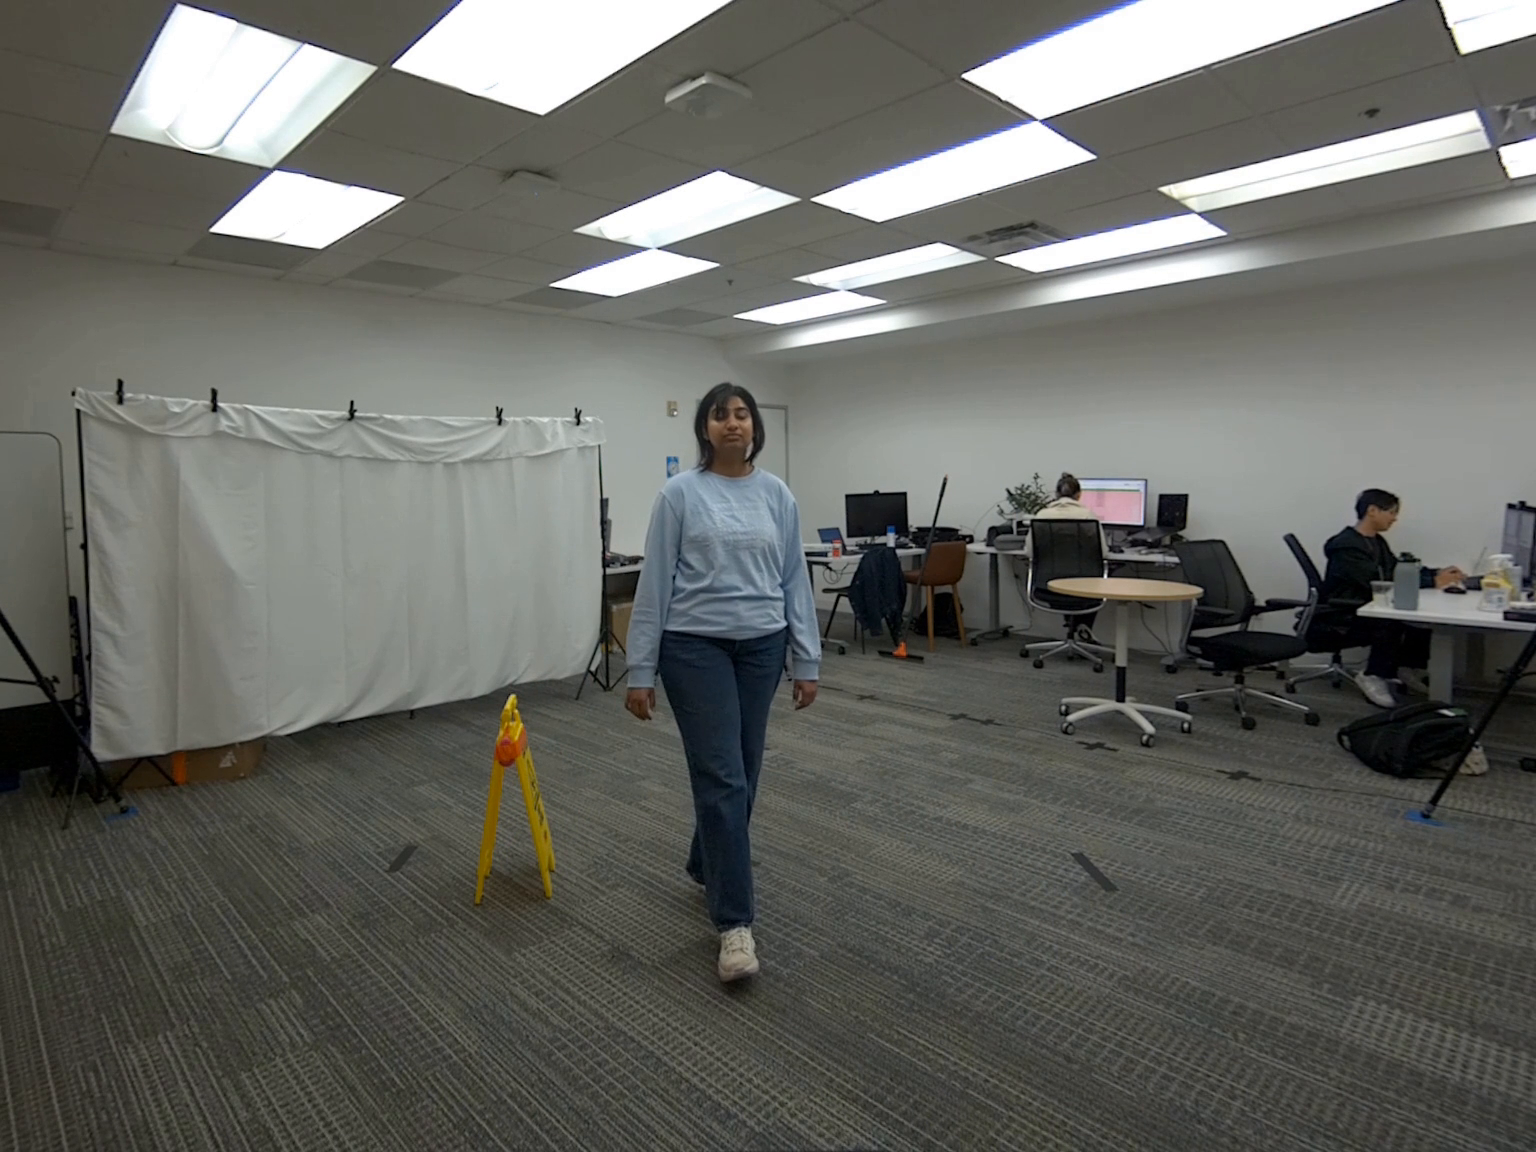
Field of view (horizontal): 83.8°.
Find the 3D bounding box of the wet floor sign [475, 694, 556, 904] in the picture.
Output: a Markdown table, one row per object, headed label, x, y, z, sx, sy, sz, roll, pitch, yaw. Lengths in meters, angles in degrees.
| label | x | y | z | sx | sy | sz | roll | pitch | yaw |
| --- | --- | --- | --- | --- | --- | --- | --- | --- | --- |
| wet floor sign | -0.887 | 0.753 | 2.974 | 0.288 | 0.643 | 0.285 | -1 | 5 | -7 |
